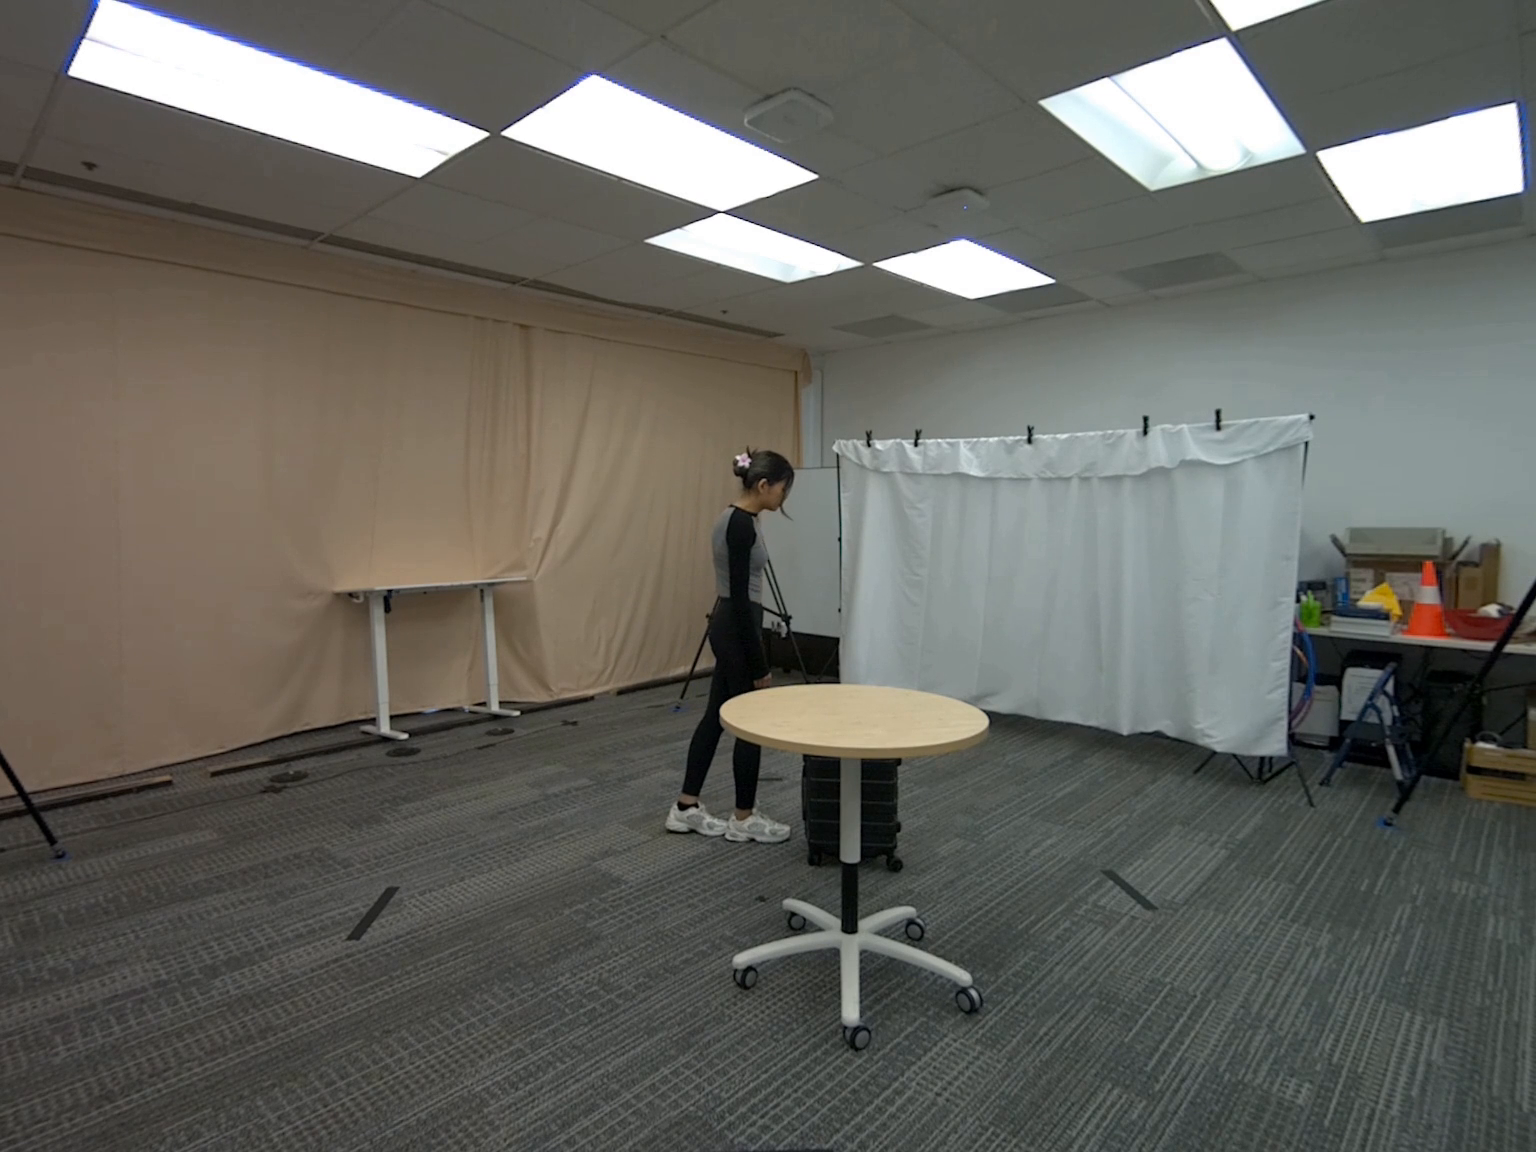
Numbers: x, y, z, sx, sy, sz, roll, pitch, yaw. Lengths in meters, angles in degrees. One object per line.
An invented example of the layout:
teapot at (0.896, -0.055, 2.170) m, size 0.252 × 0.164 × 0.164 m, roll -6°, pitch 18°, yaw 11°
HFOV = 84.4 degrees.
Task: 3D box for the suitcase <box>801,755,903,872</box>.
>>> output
suitcase at (0.333, 0.844, 3.325) m, size 0.378 × 0.549 × 0.247 m, roll 0°, pitch 2°, yaw 5°
